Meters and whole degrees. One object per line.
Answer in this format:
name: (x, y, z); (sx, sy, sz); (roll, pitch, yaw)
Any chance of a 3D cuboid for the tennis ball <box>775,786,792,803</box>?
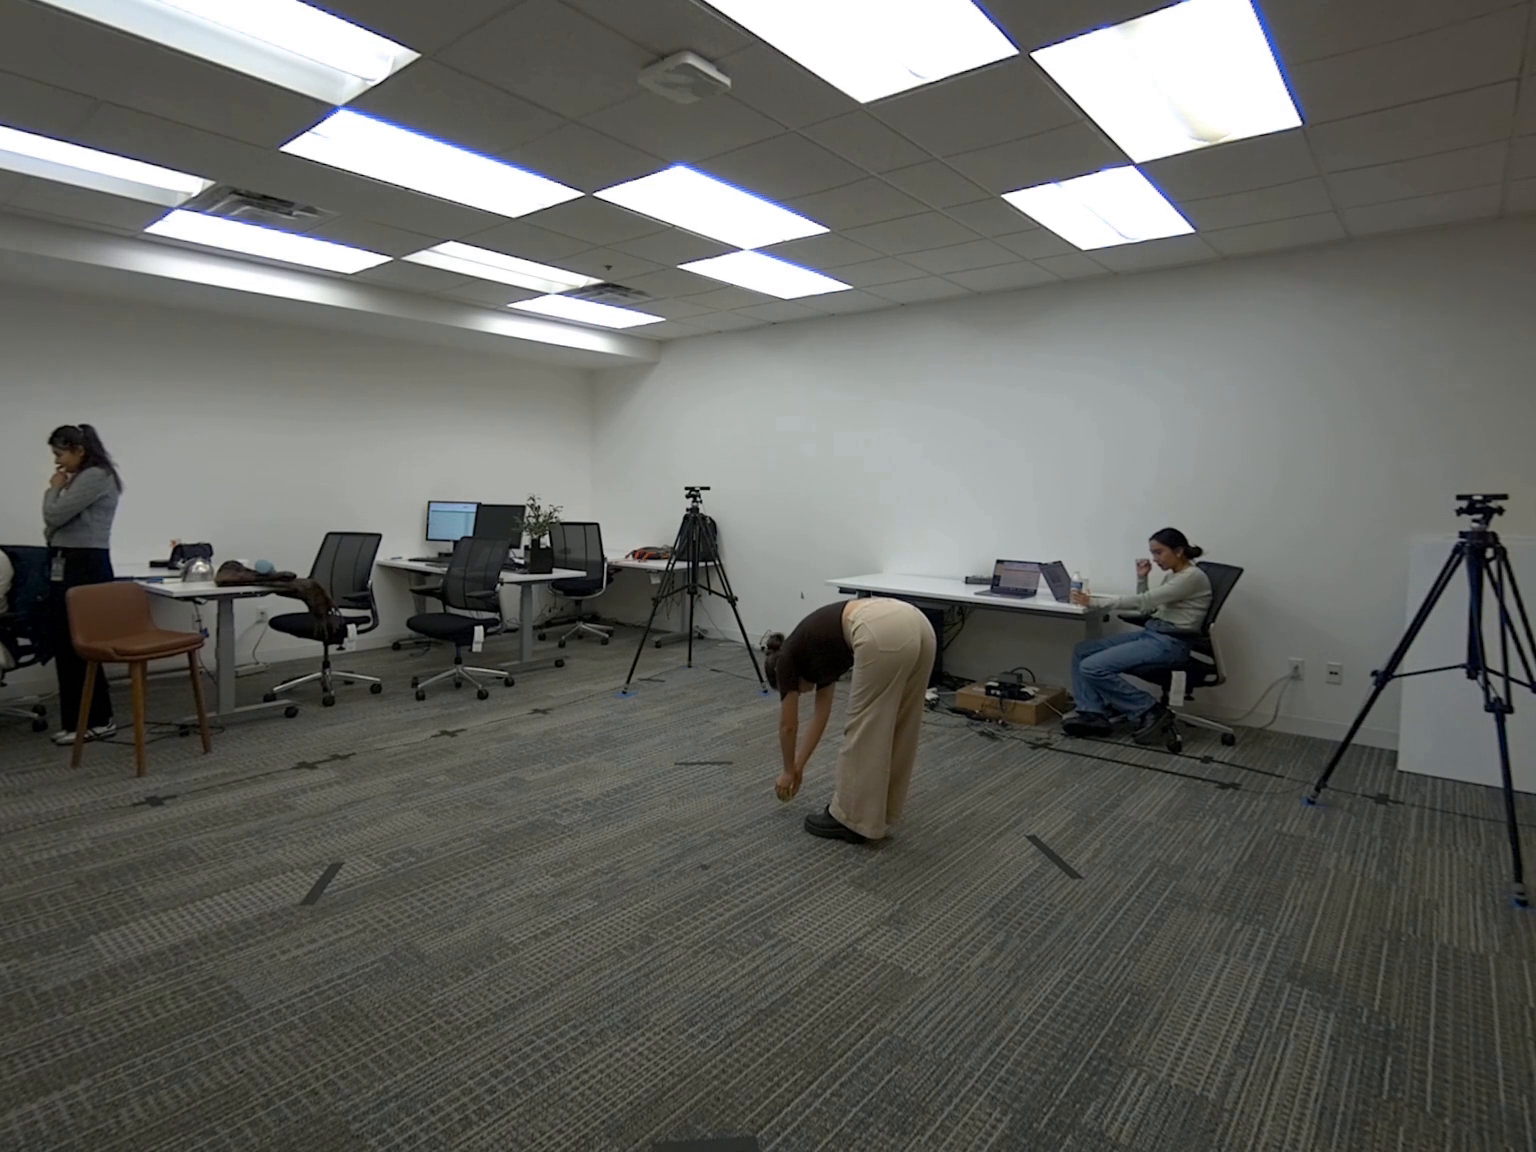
tennis ball: (0.066, 0.929, 3.695); (0.066, 0.066, 0.067); (1, 4, -2)
